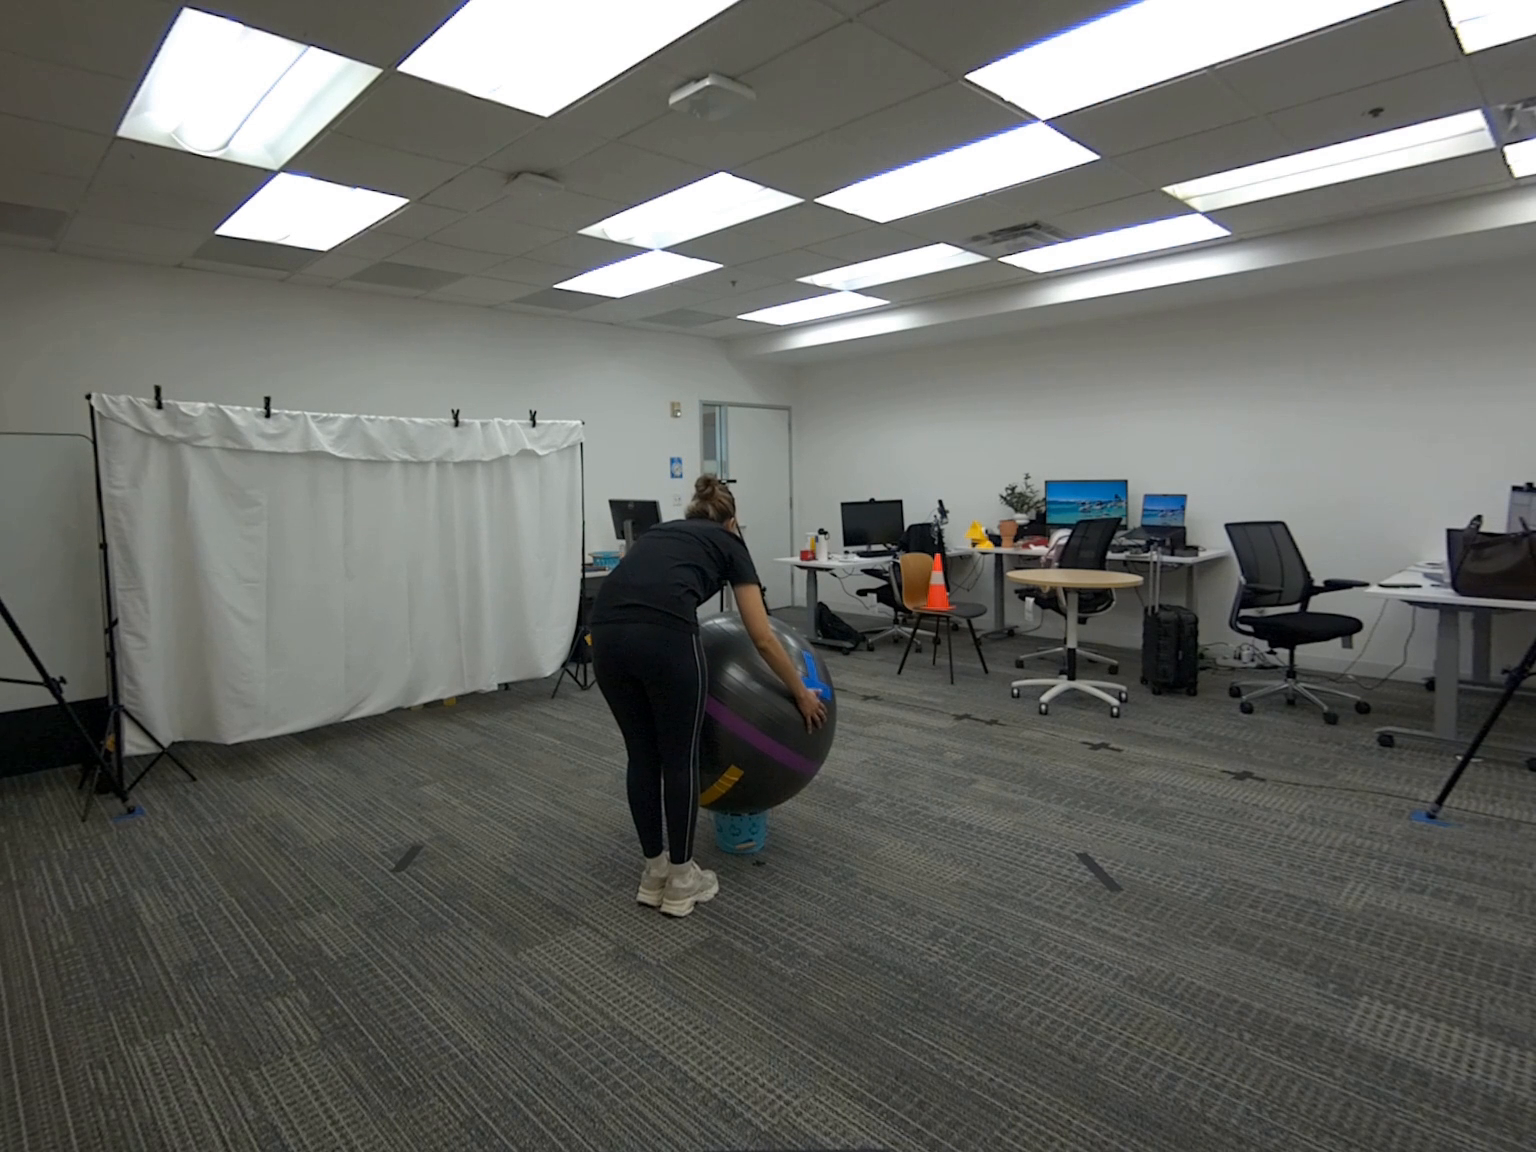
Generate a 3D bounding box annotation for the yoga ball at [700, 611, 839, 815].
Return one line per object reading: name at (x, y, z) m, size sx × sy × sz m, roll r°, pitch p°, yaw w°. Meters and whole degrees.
yoga ball at (-0.119, 0.517, 3.281) m, size 0.757 × 0.755 × 0.762 m, roll -1°, pitch 5°, yaw -2°
